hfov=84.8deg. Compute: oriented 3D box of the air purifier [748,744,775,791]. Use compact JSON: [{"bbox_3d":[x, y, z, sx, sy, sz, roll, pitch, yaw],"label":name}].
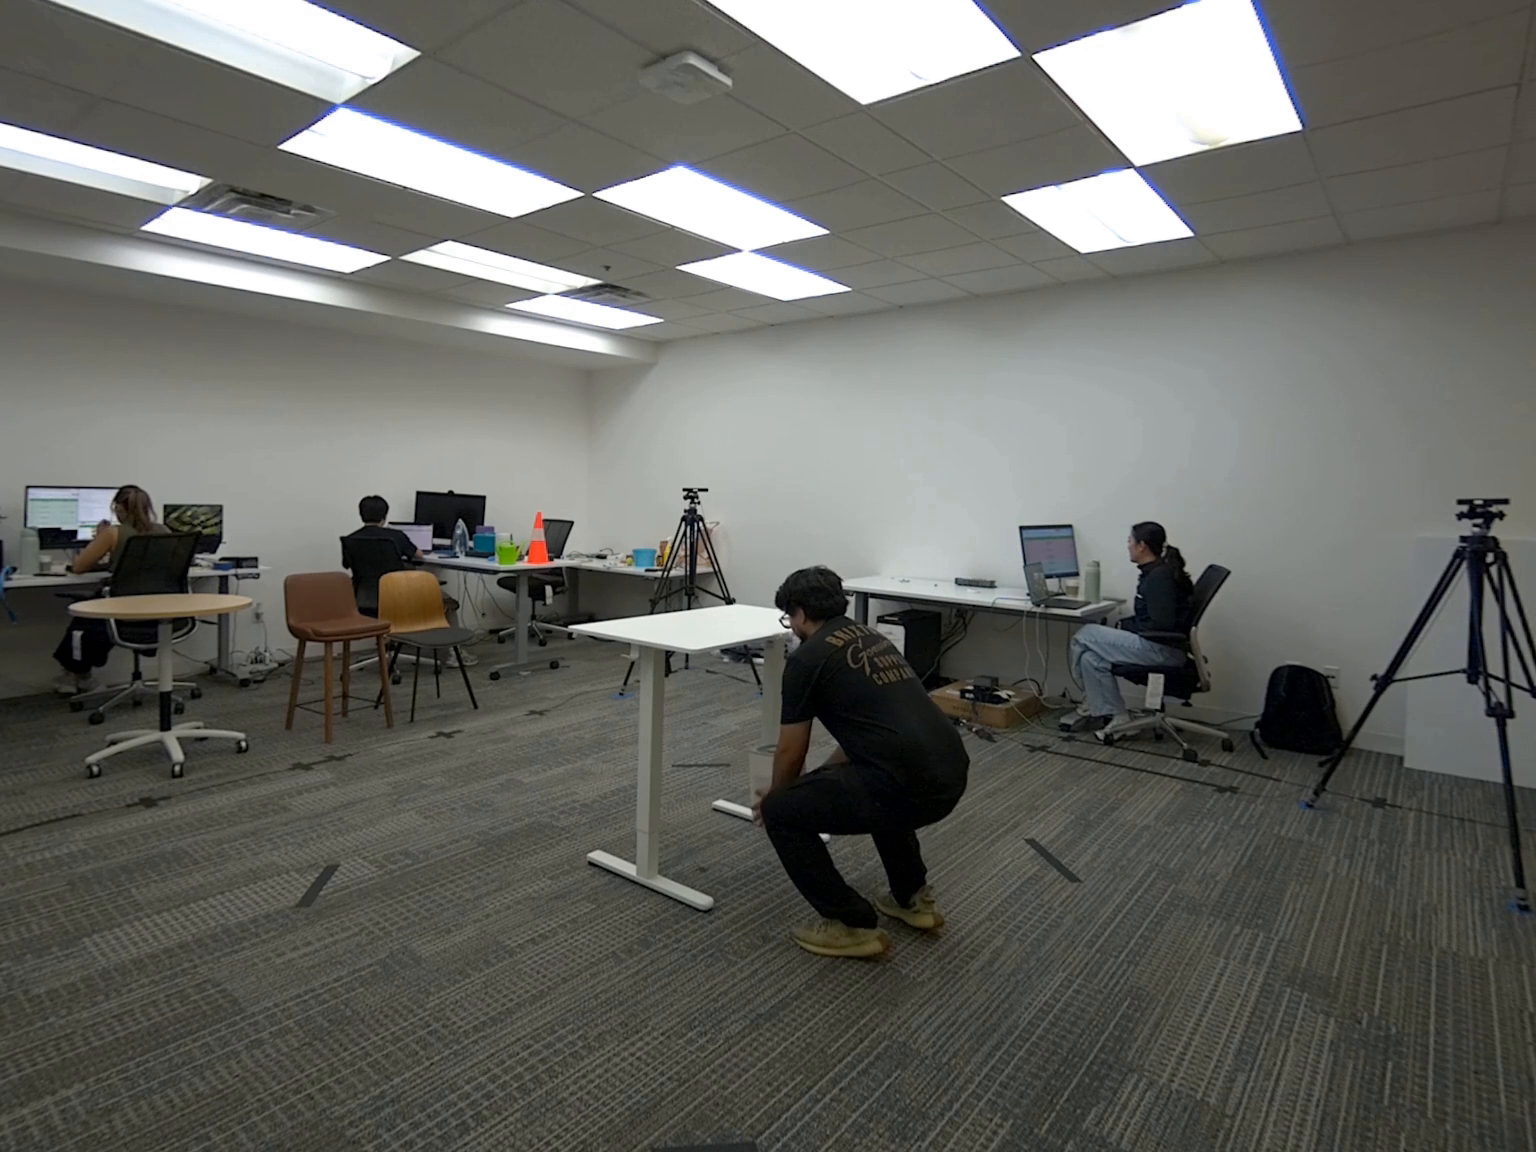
[{"bbox_3d":[0.028,0.737,2.972,0.166,0.266,0.177,-2,-1,-45],"label":"air purifier"}]
